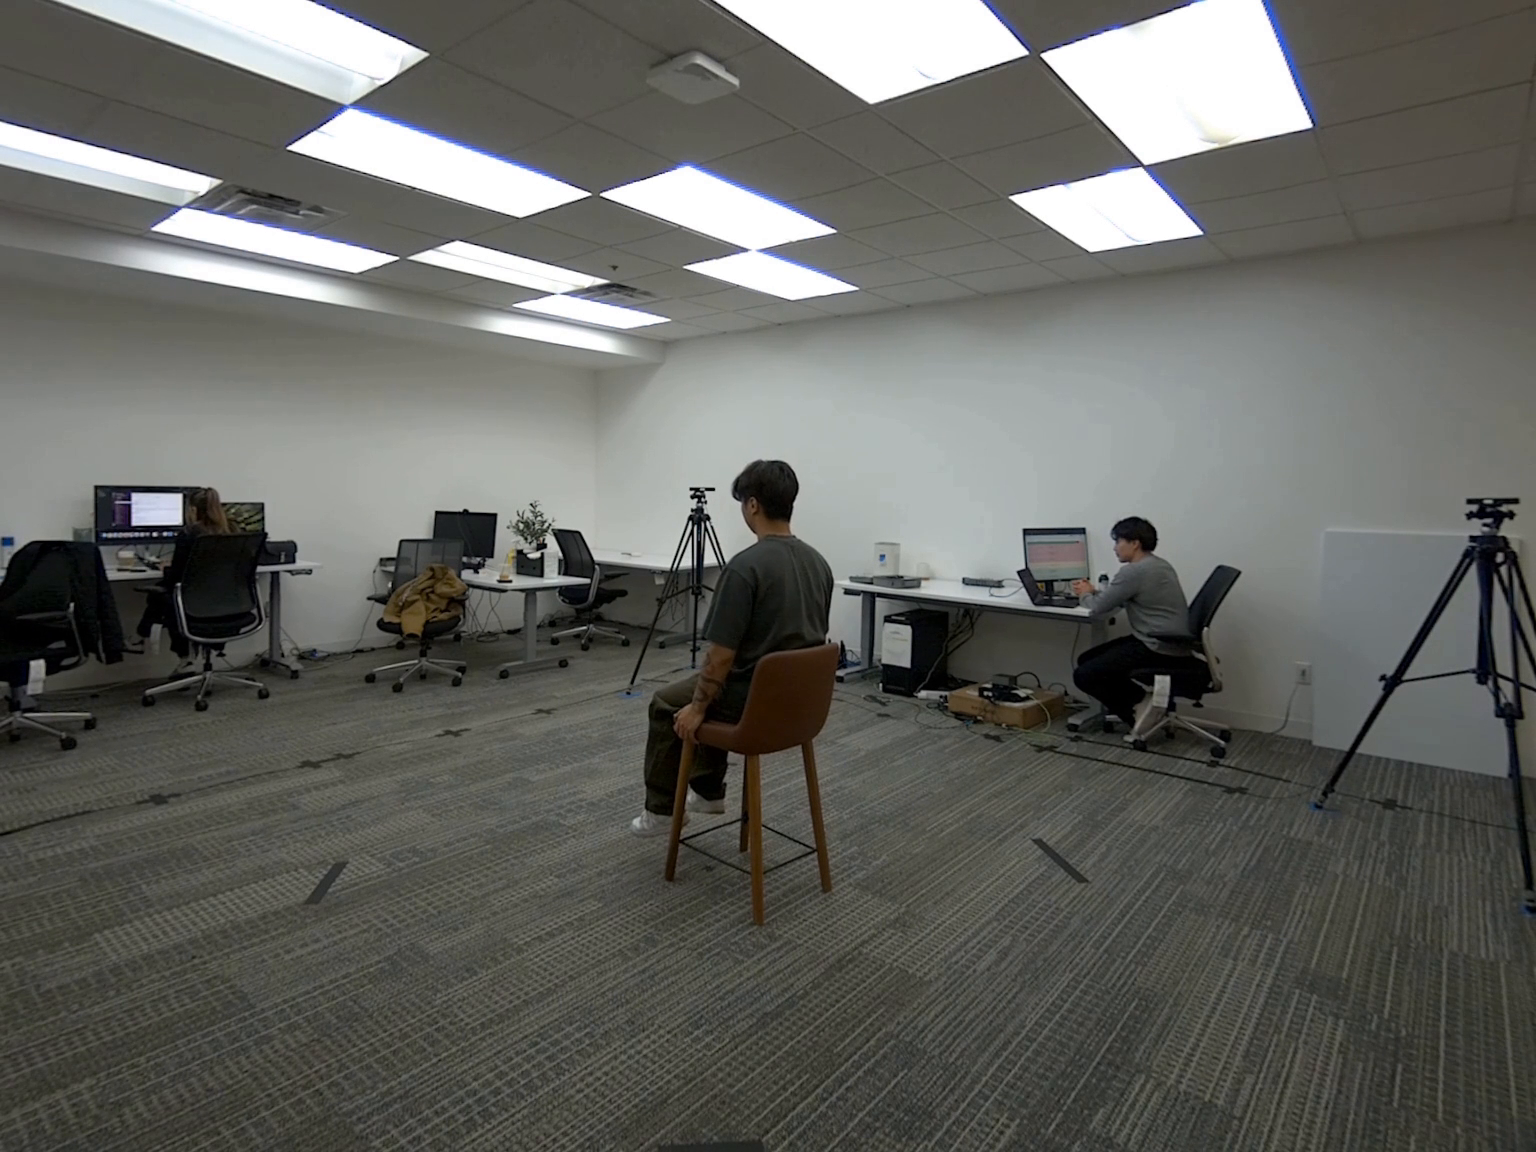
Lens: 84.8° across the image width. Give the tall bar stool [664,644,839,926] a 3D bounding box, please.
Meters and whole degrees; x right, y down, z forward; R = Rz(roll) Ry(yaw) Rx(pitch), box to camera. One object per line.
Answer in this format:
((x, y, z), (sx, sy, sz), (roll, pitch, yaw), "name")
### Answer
((-0.051, 0.647, 2.957), (0.484, 0.886, 0.442), (8, 7, 44), "tall bar stool")
